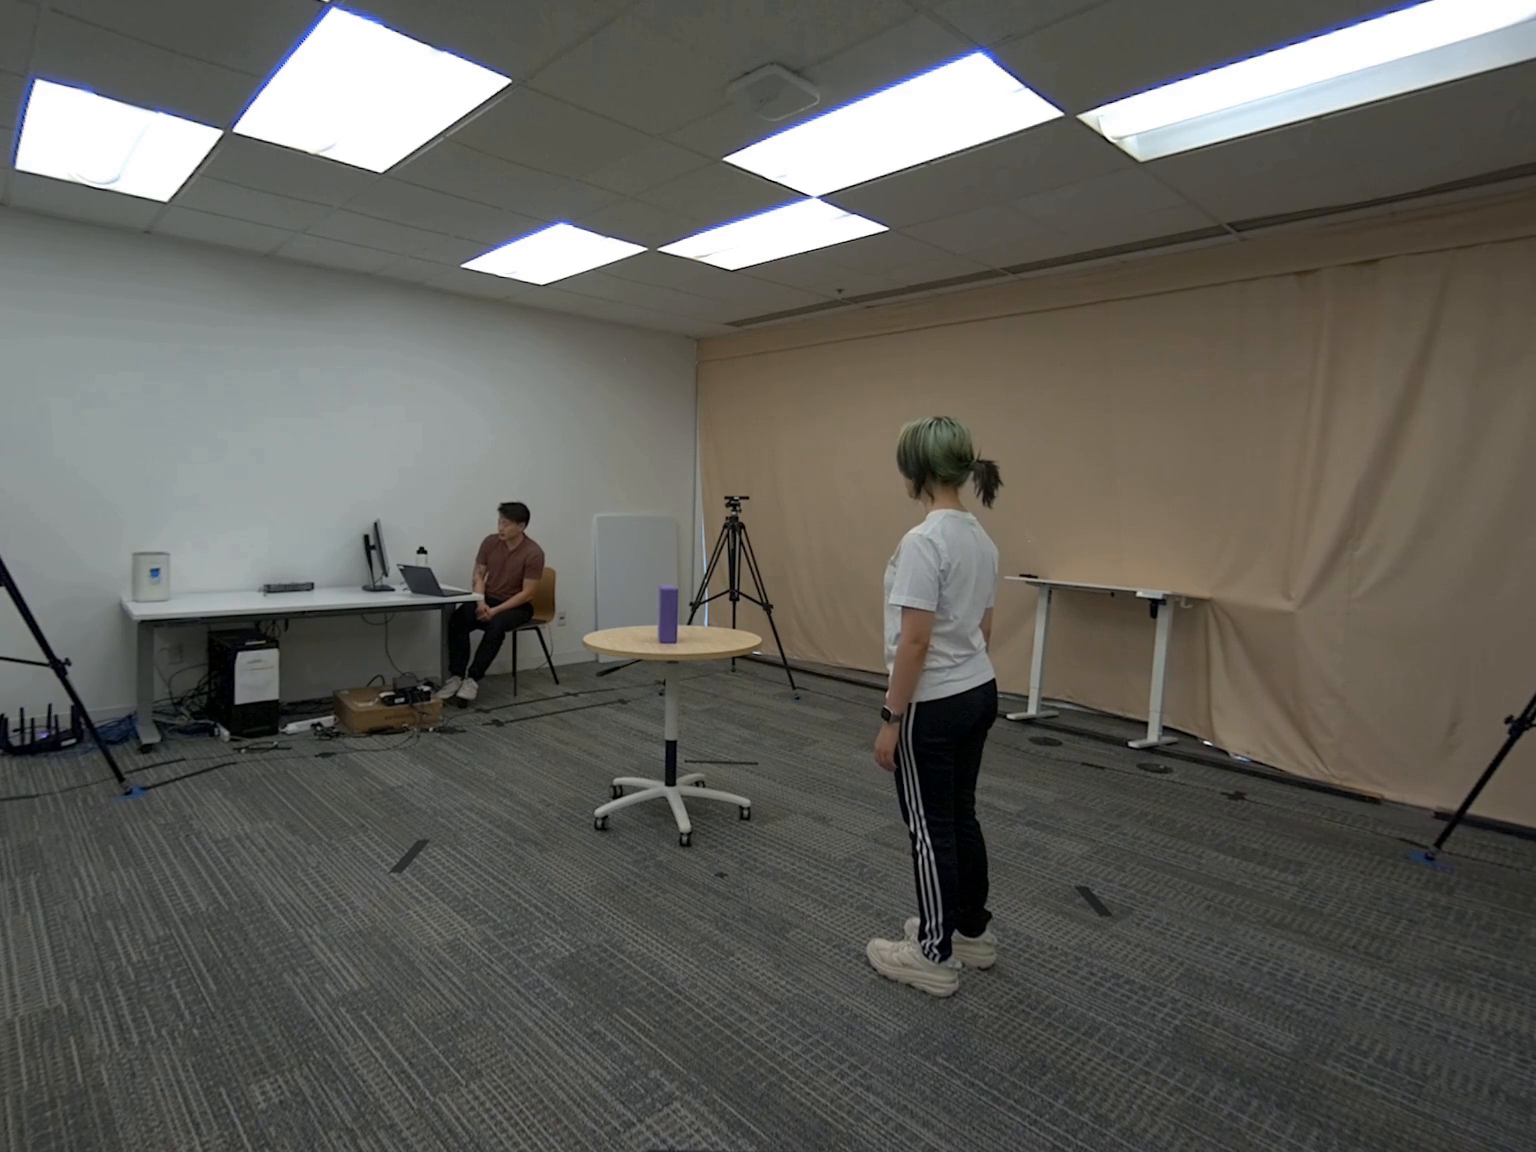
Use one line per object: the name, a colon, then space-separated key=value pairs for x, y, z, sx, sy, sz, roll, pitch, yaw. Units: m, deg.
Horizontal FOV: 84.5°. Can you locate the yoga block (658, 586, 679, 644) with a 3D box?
yoga block: x=-0.432 y=0.161 z=3.546 sx=0.076 sy=0.229 sz=0.149 roll=1 pitch=0 yaw=-5
